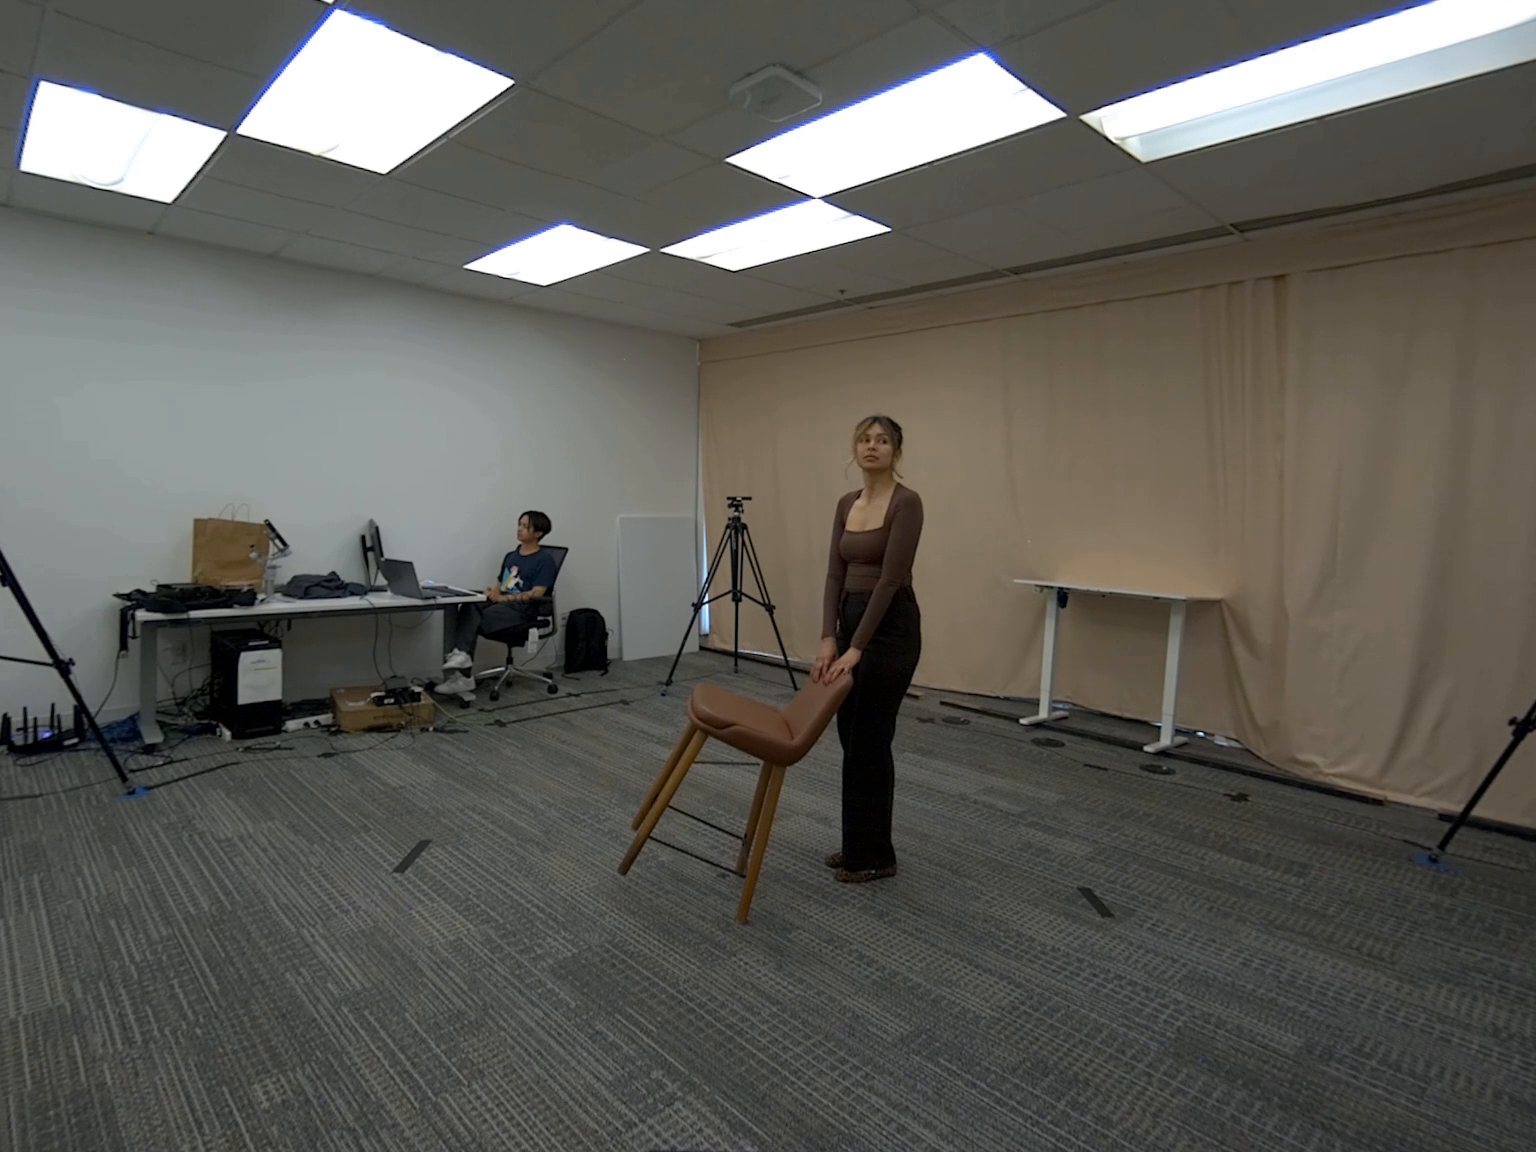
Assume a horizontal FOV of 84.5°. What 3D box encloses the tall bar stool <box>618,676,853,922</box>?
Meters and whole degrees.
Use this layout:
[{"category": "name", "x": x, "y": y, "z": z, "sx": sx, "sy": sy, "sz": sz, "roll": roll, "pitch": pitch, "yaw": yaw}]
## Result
[{"category": "tall bar stool", "x": -0.114, "y": 0.643, "z": 2.903, "sx": 0.467, "sy": 0.889, "sz": 0.458, "roll": 25, "pitch": 3, "yaw": -3}]
